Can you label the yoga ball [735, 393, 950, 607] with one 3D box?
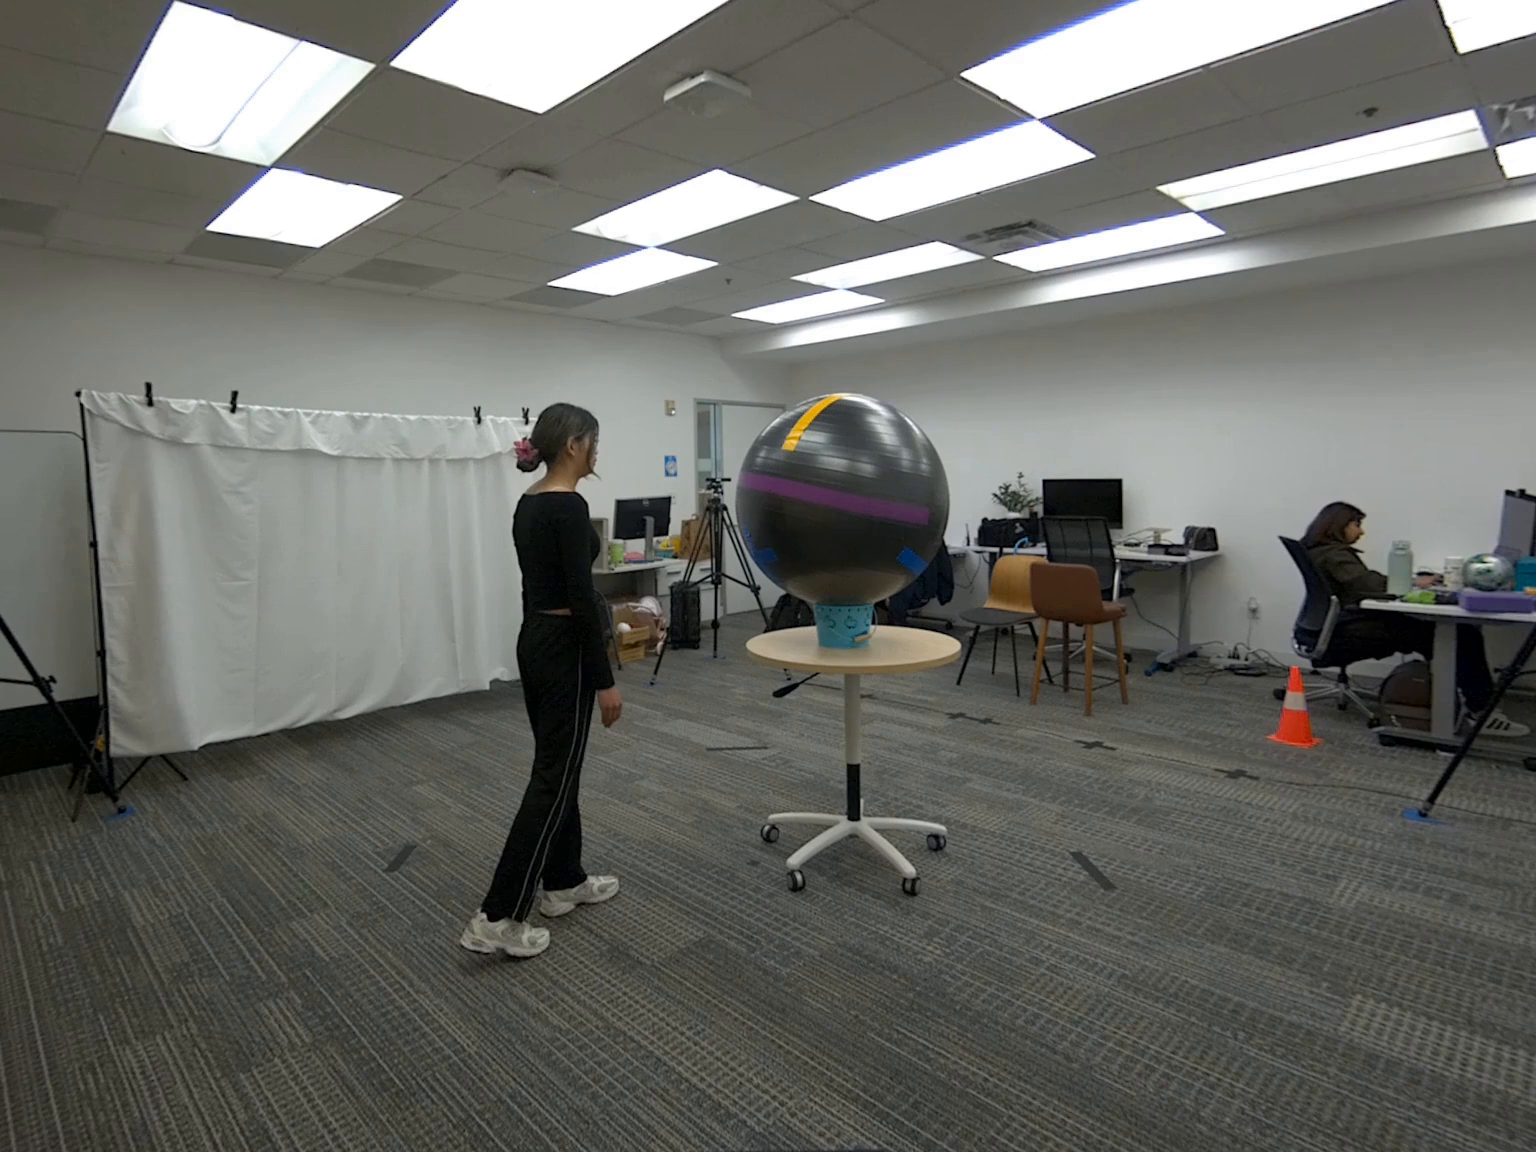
[{"bbox_3d":[0.266,-0.260,3.060,0.757,0.755,0.762,-1,5,-2],"label":"yoga ball"}]
